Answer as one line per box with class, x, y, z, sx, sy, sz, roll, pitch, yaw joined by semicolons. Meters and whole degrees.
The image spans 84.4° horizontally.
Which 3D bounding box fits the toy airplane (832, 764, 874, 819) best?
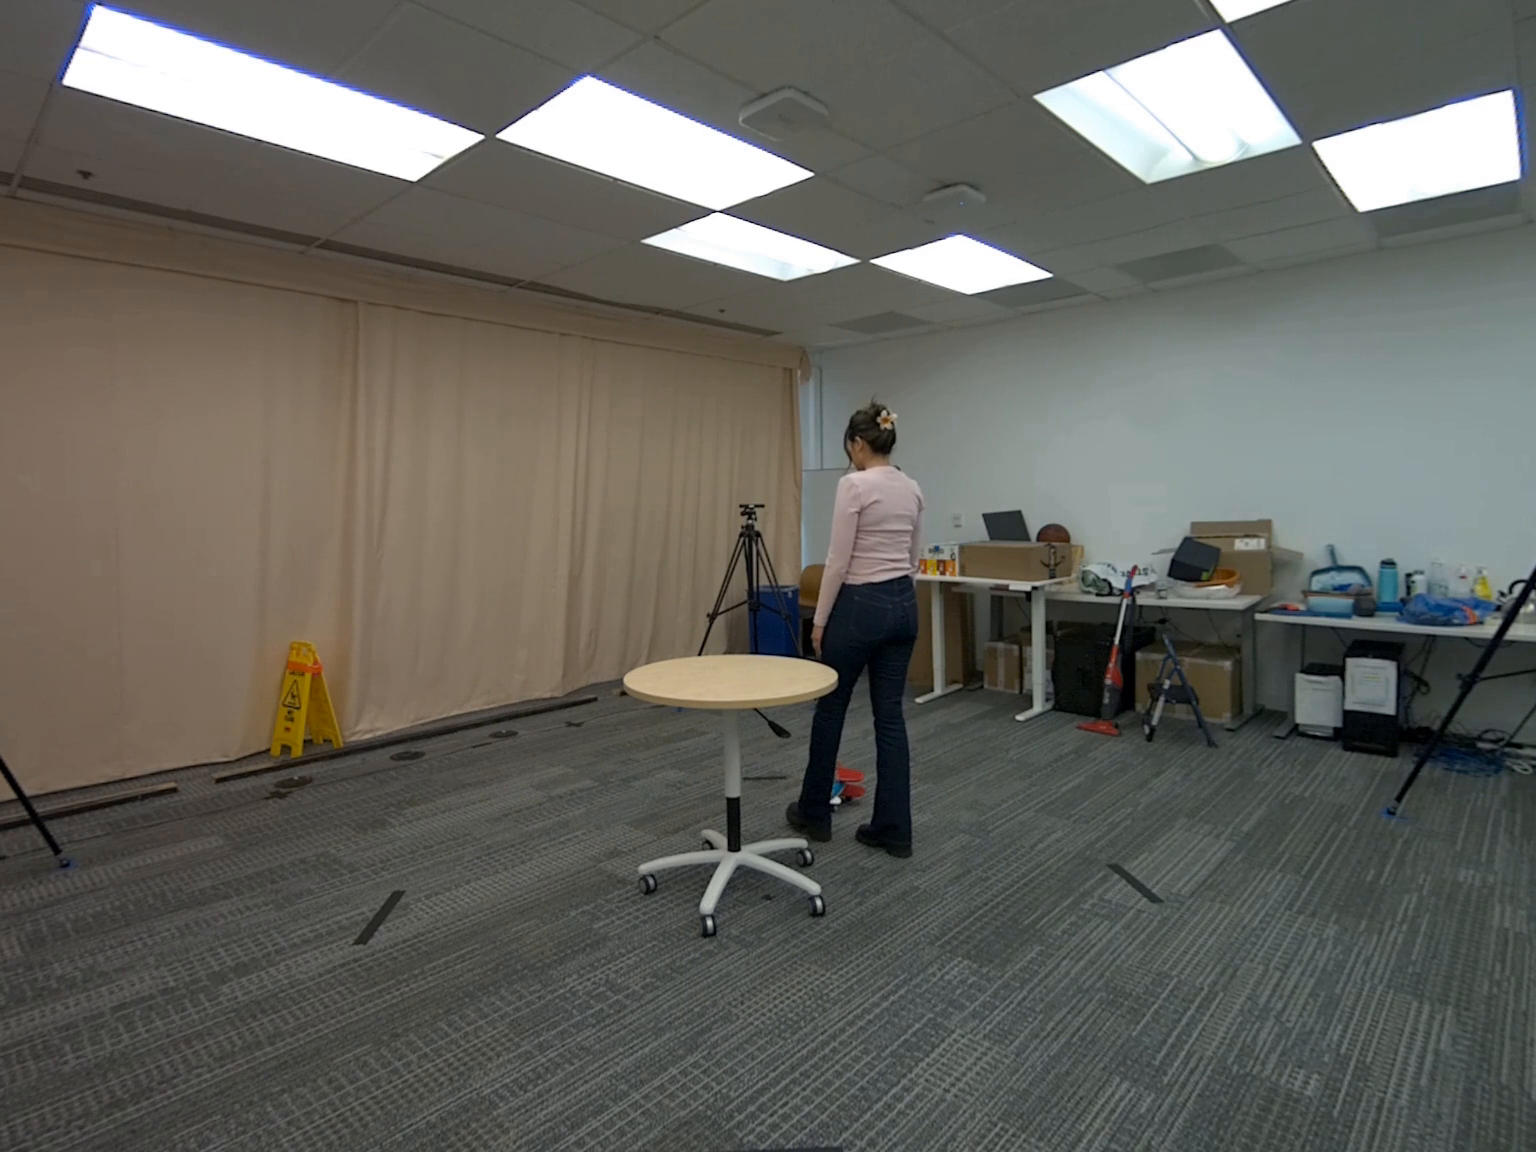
toy airplane;0.329;0.982;3.881;0.250;0.156;0.261;-1;4;-5
